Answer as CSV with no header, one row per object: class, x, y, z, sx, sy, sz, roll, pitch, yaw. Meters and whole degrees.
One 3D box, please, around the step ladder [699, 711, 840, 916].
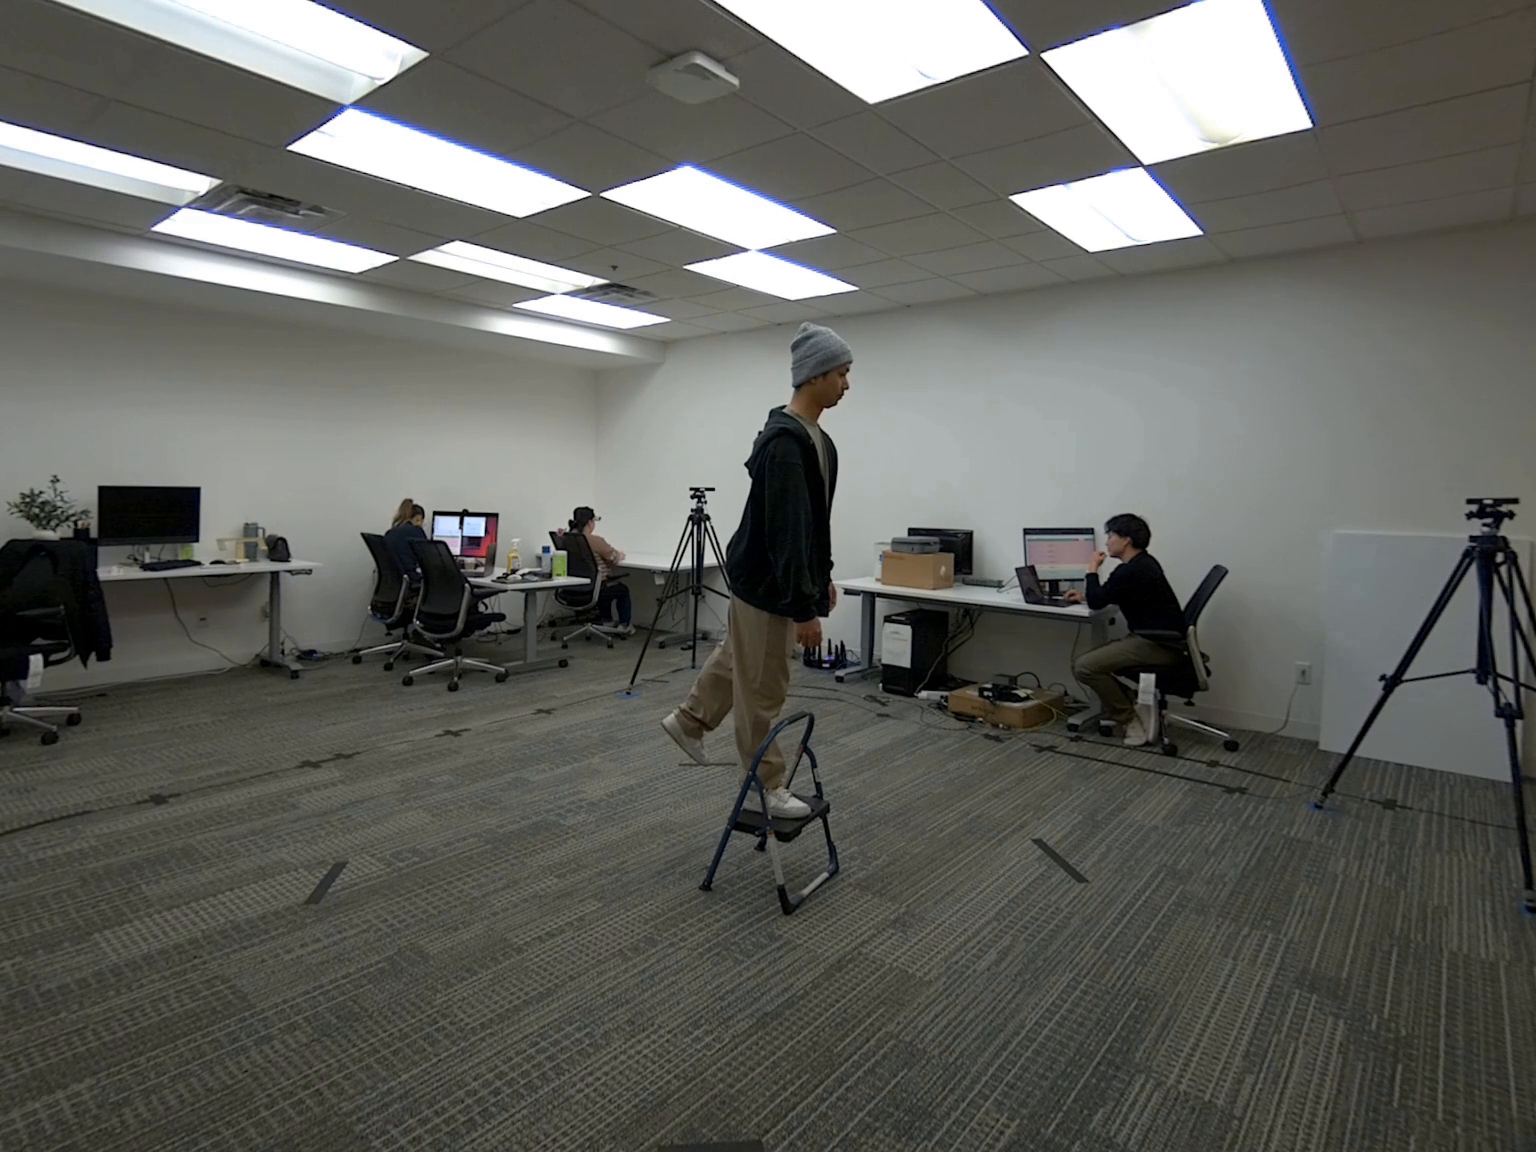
step ladder,0.016,0.778,3.018,0.359,0.604,0.420,4,4,29
